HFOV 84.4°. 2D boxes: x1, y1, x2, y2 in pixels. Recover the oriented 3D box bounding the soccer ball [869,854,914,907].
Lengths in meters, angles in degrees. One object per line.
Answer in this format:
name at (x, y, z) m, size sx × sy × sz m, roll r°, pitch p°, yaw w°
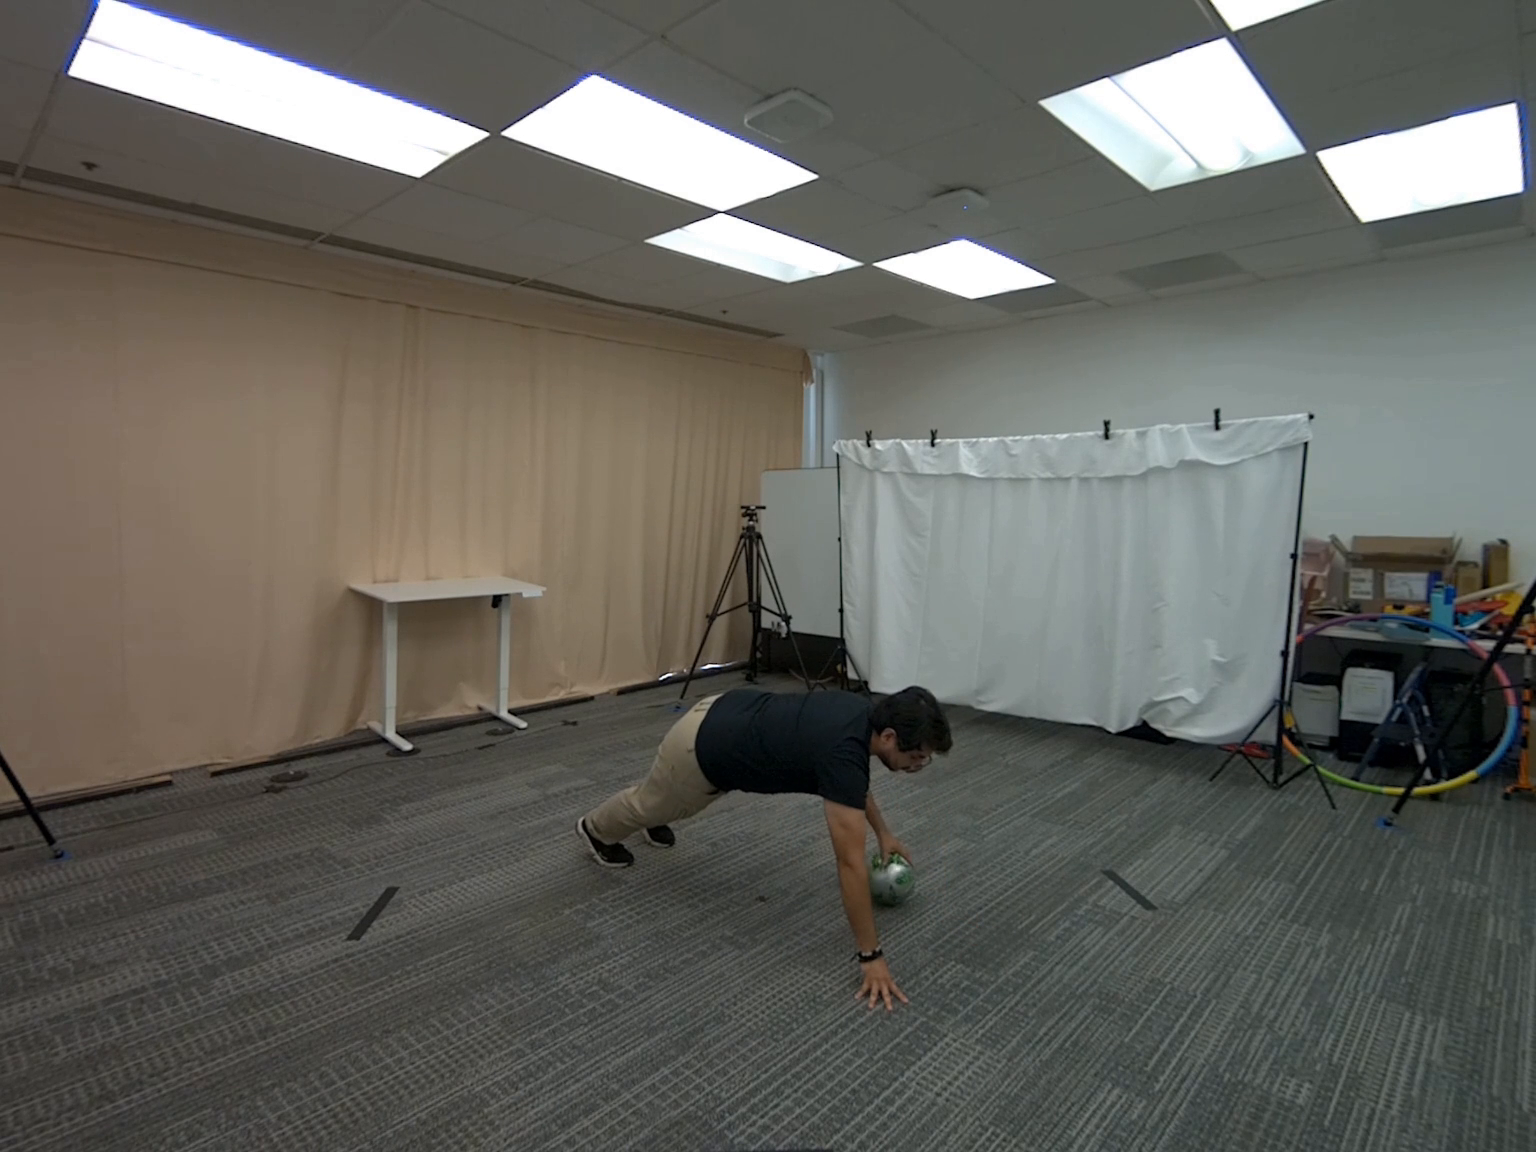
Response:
soccer ball at (0.426, 1.053, 2.949) m, size 0.187 × 0.187 × 0.188 m, roll 0°, pitch 4°, yaw -2°
